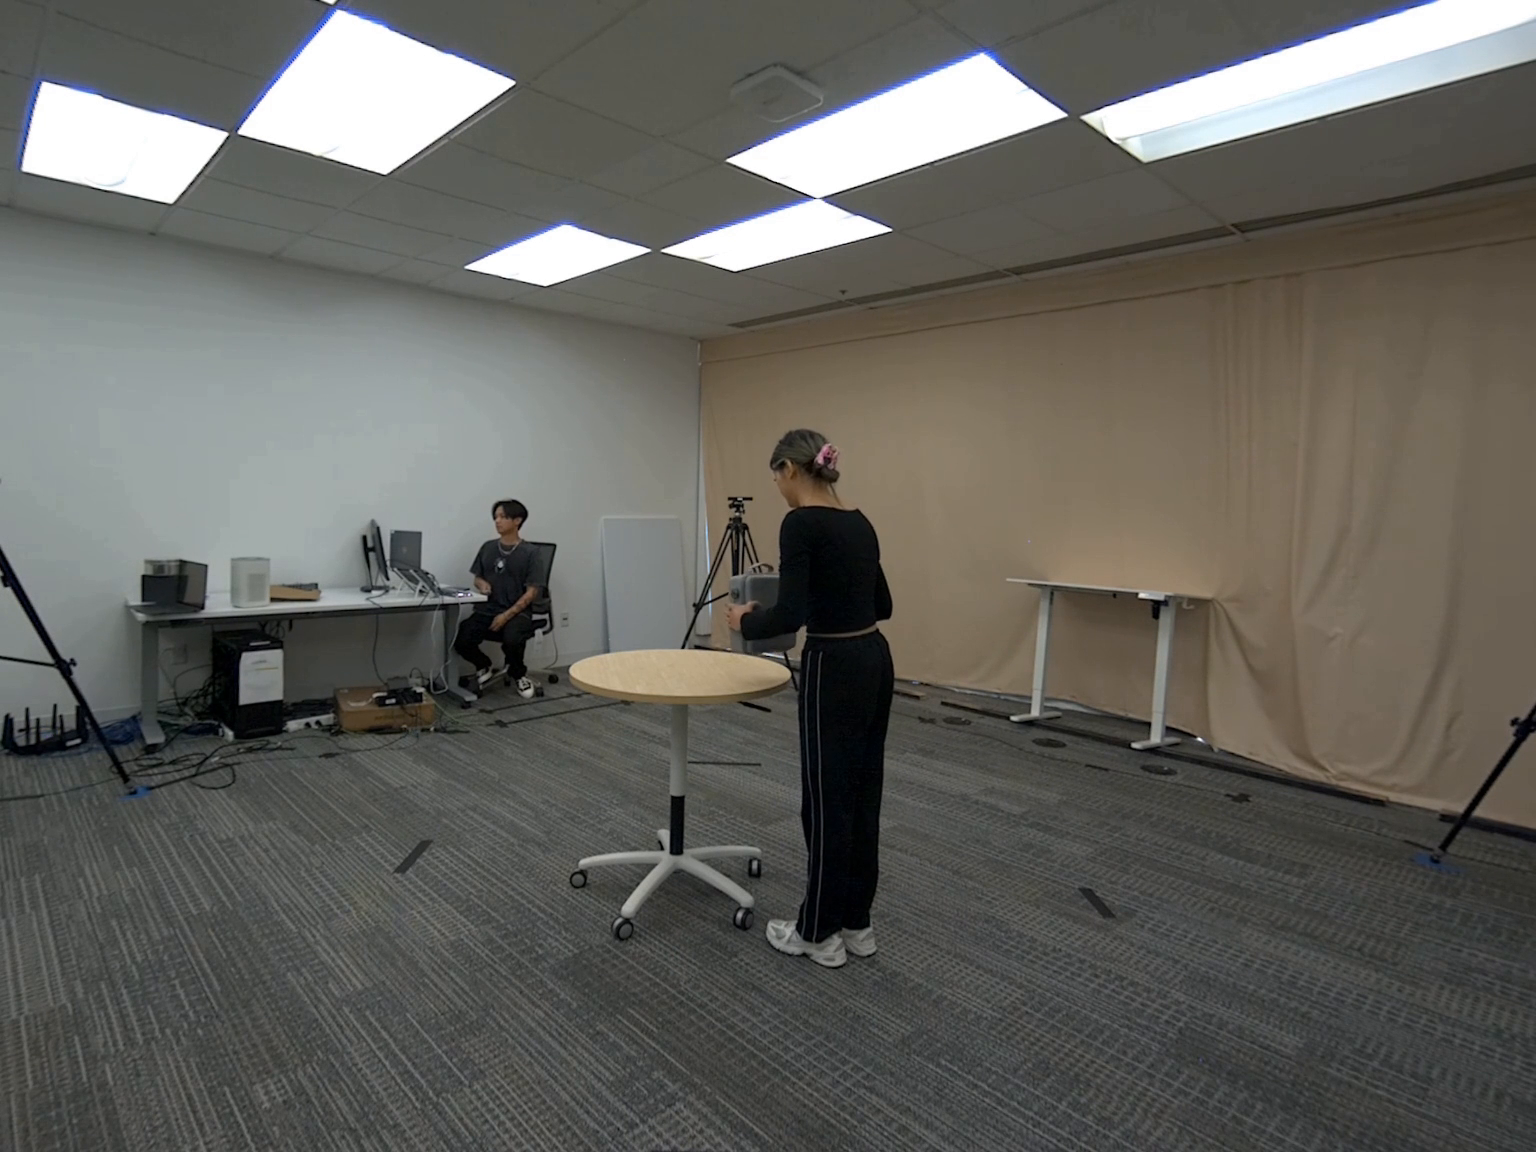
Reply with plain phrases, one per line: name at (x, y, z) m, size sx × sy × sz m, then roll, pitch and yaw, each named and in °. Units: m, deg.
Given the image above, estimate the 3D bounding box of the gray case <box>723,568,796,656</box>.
gray case at (-0.017, 0.116, 2.754) m, size 0.106 × 0.261 × 0.251 m, roll -4°, pitch -4°, yaw 40°
